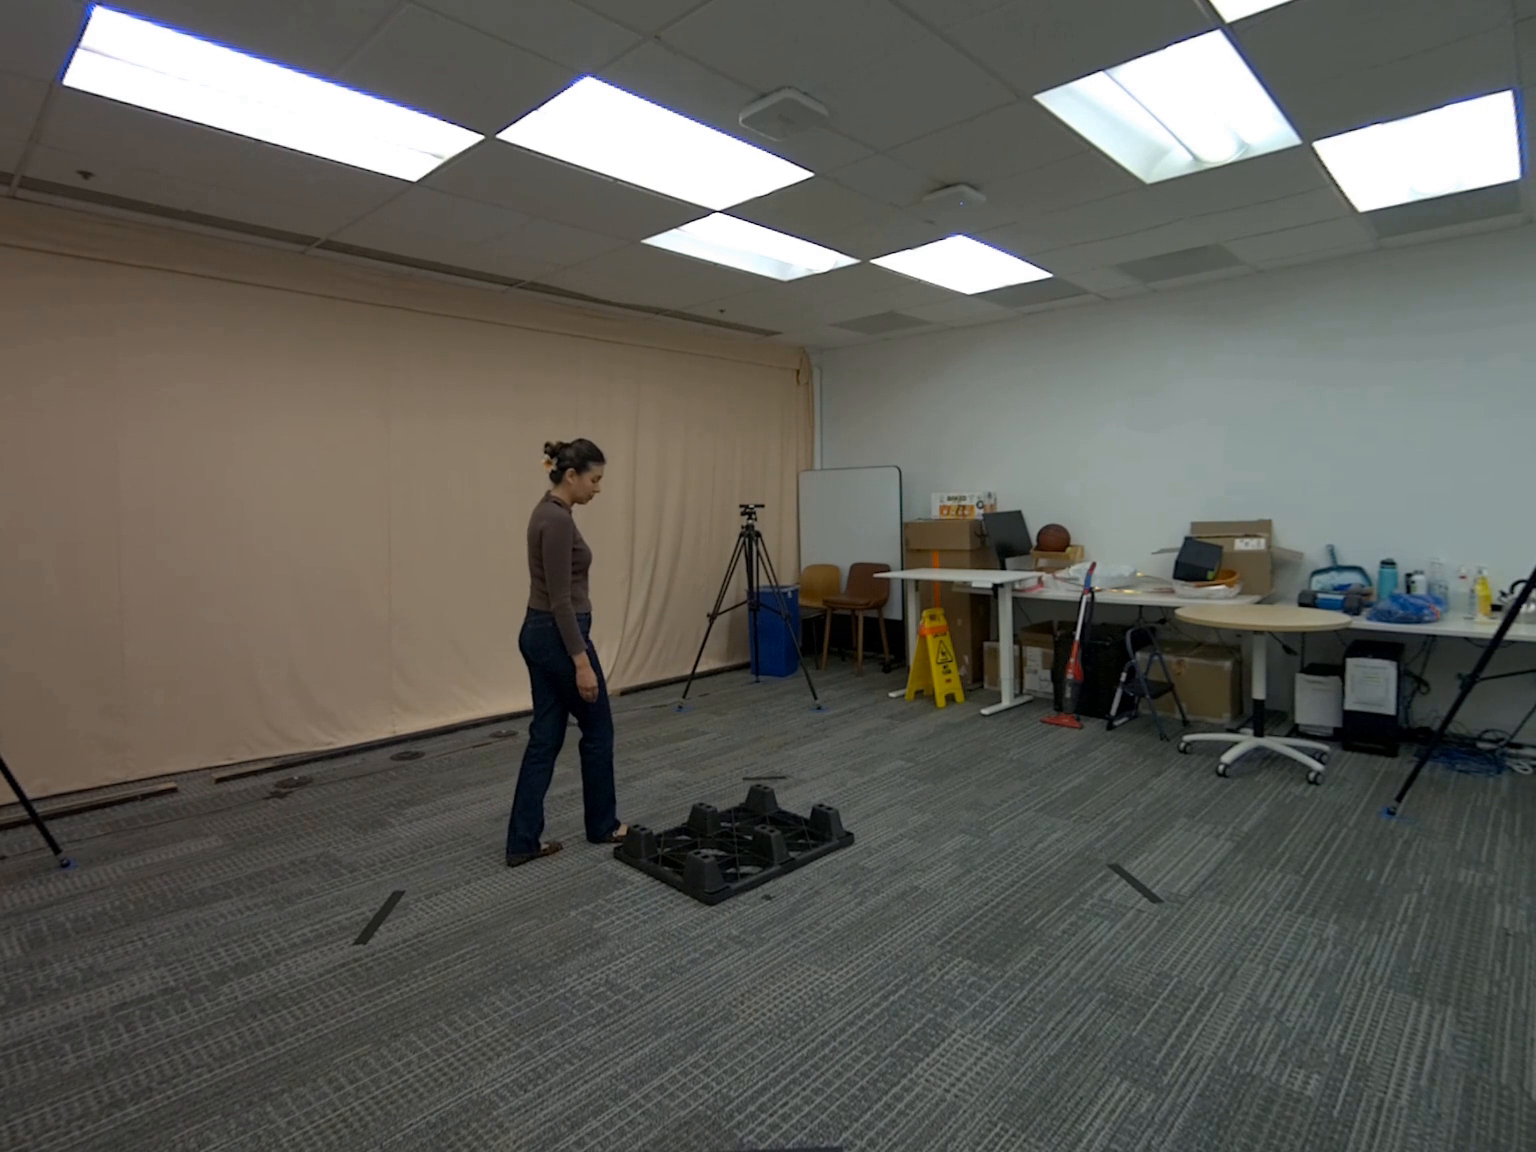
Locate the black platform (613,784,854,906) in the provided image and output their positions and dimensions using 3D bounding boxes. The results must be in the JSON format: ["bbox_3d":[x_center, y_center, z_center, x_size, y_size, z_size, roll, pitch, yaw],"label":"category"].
[{"bbox_3d":[-0.130,1.041,3.390,0.781,0.143,0.625,-6,6,-44],"label":"black platform"}]
